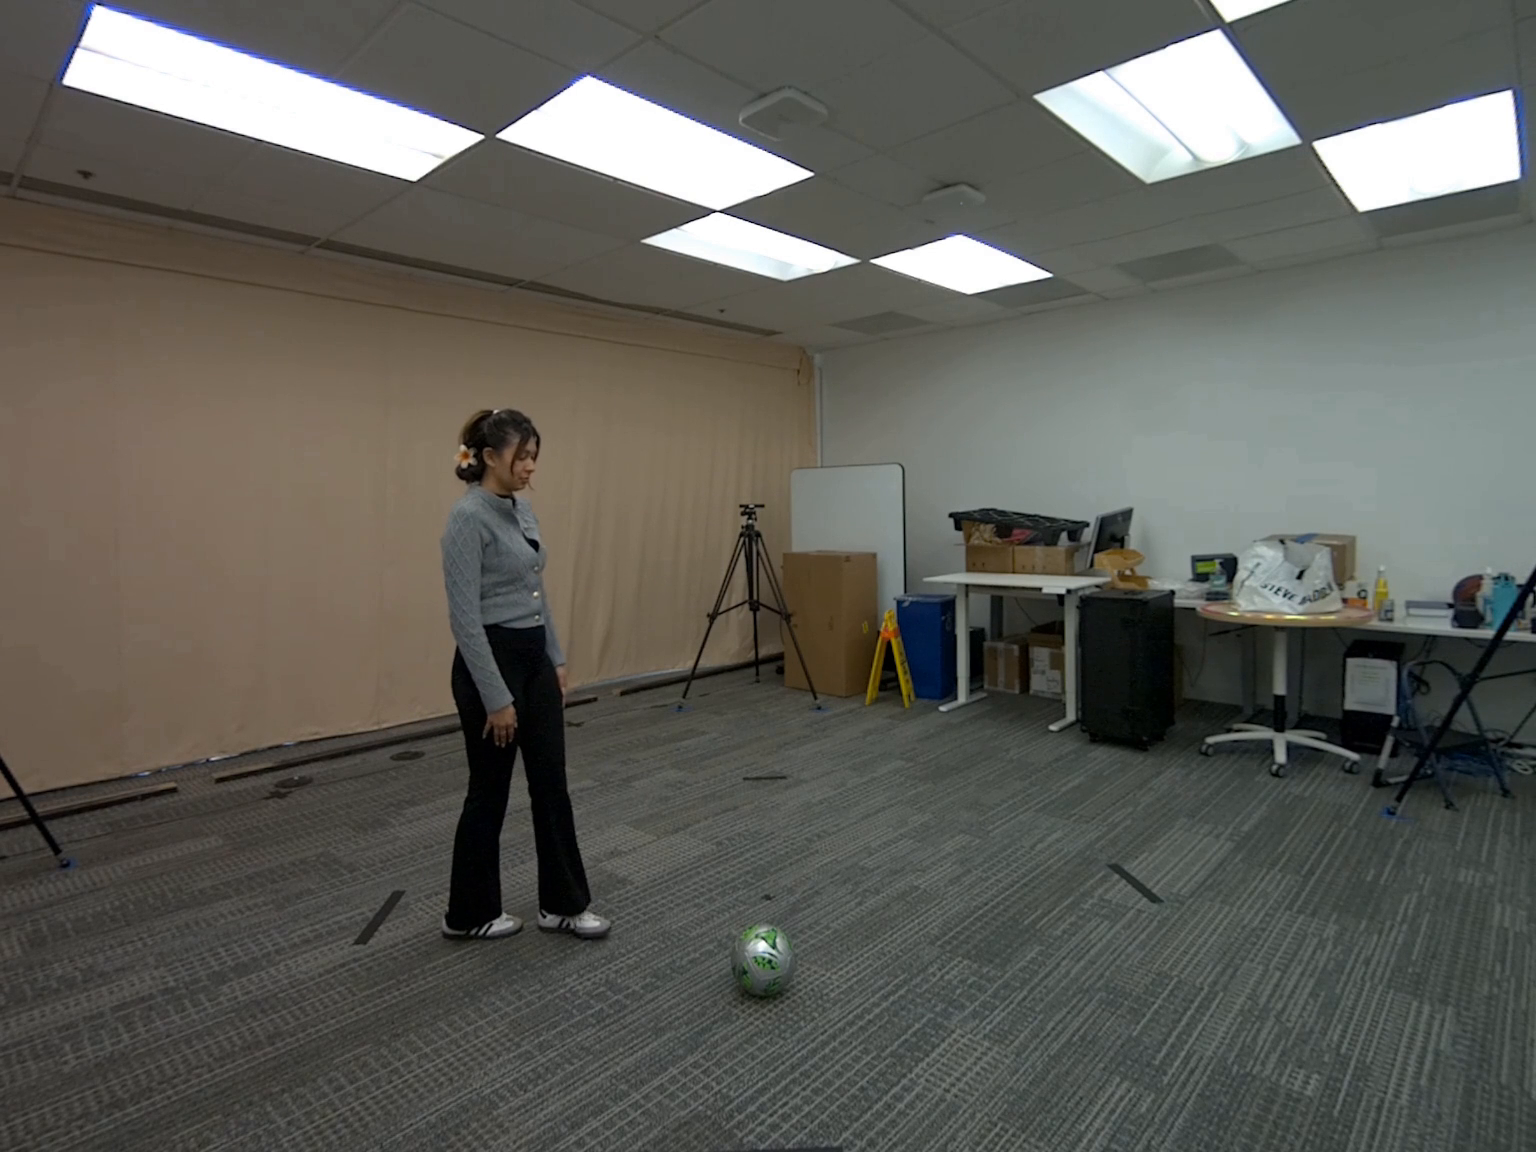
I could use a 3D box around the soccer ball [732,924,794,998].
[{"bbox_3d":[-0.010,1.094,2.403,0.187,0.187,0.188,-1,4,-2],"label":"soccer ball"}]
